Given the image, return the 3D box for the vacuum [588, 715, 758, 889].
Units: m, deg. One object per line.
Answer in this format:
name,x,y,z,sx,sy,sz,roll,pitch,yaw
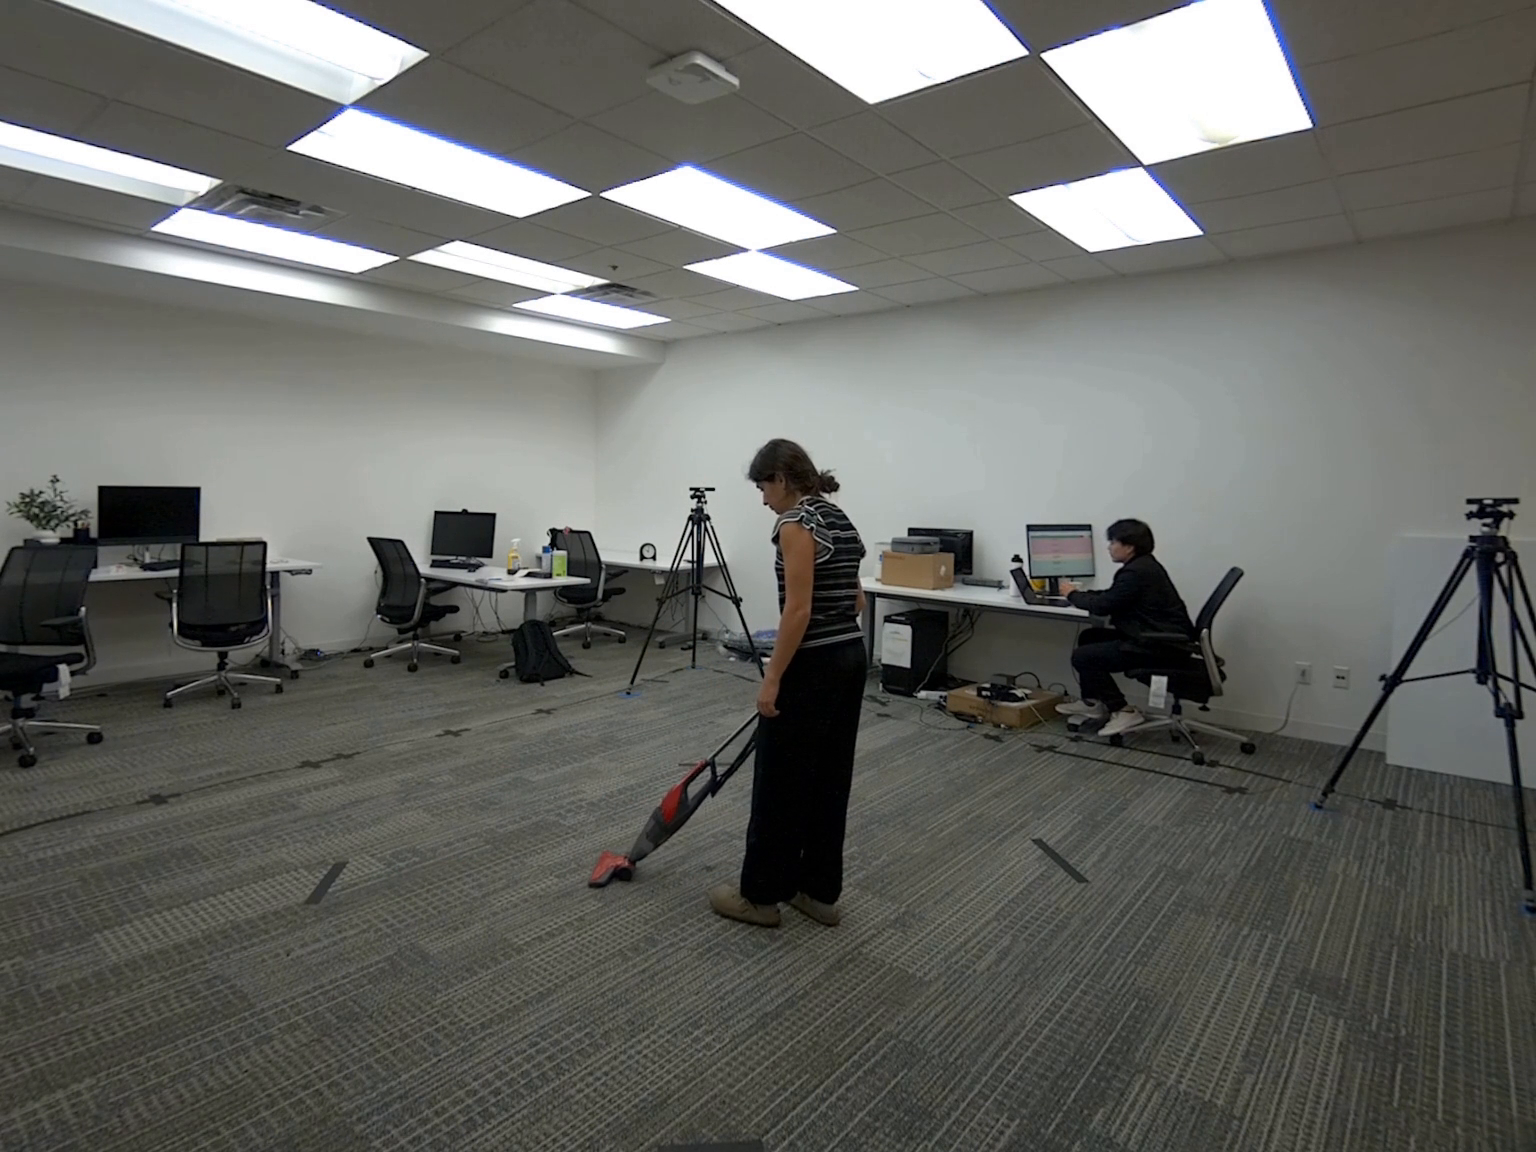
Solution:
vacuum,-0.203,0.685,3.020,0.144,1.049,0.252,45,4,0
